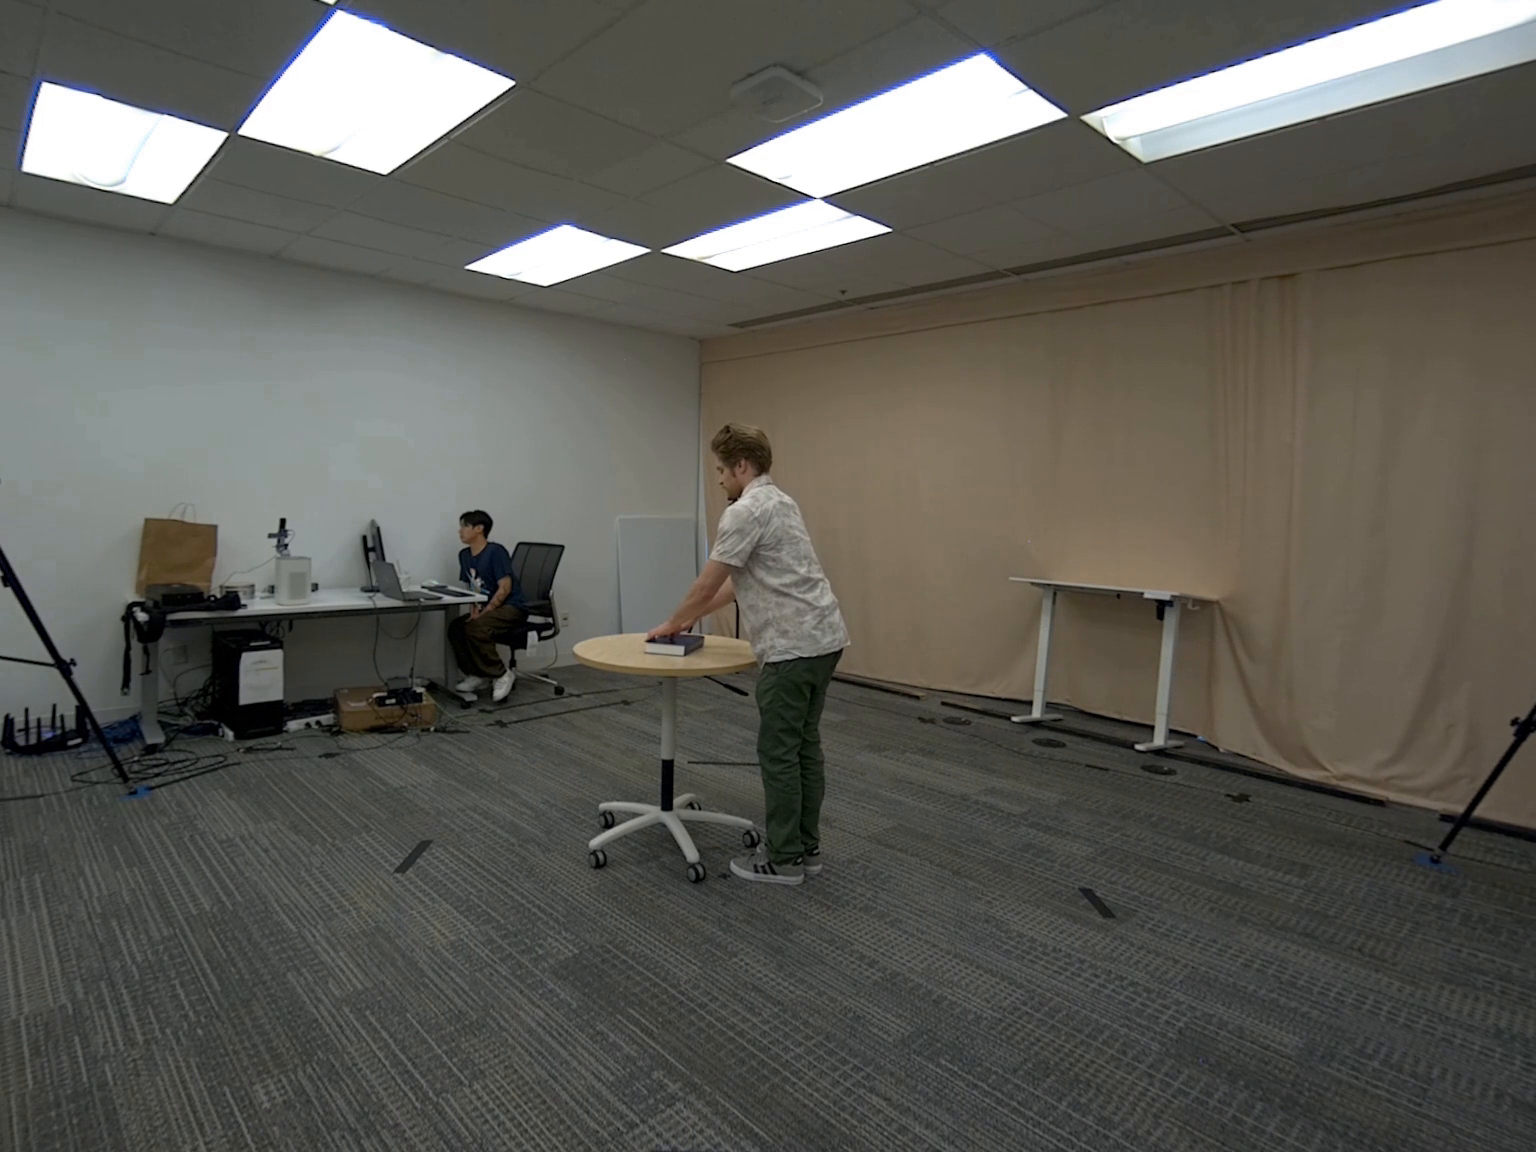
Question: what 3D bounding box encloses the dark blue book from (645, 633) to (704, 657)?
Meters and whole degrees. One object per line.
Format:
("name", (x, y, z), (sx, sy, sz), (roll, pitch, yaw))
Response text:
("dark blue book", (-0.373, 0.270, 3.329), (0.165, 0.045, 0.243), (2, 6, 13))
